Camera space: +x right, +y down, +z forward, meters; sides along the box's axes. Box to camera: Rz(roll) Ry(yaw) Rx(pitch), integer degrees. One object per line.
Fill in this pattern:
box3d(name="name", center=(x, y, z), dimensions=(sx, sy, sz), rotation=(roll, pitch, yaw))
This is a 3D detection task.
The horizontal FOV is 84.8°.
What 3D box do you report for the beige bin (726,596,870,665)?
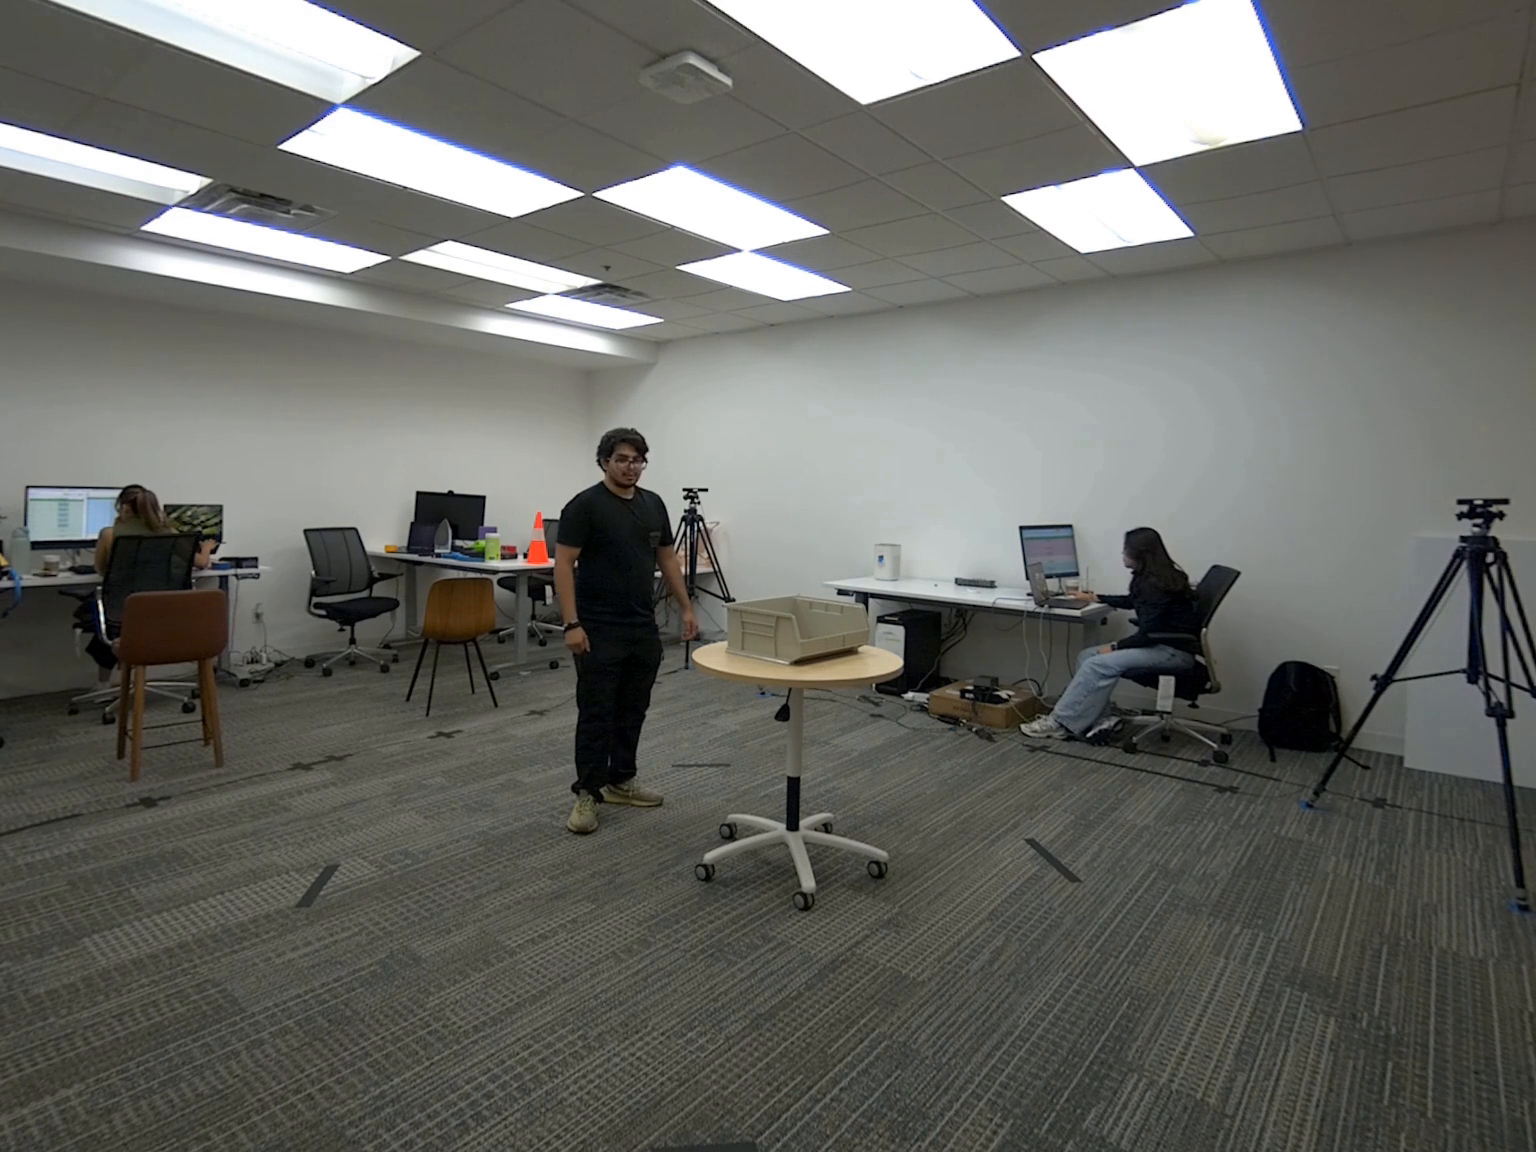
box3d(name="beige bin", center=(0.104, 0.197, 3.184), dimensions=(0.390, 0.188, 0.410), rotation=(5, 8, 44))
